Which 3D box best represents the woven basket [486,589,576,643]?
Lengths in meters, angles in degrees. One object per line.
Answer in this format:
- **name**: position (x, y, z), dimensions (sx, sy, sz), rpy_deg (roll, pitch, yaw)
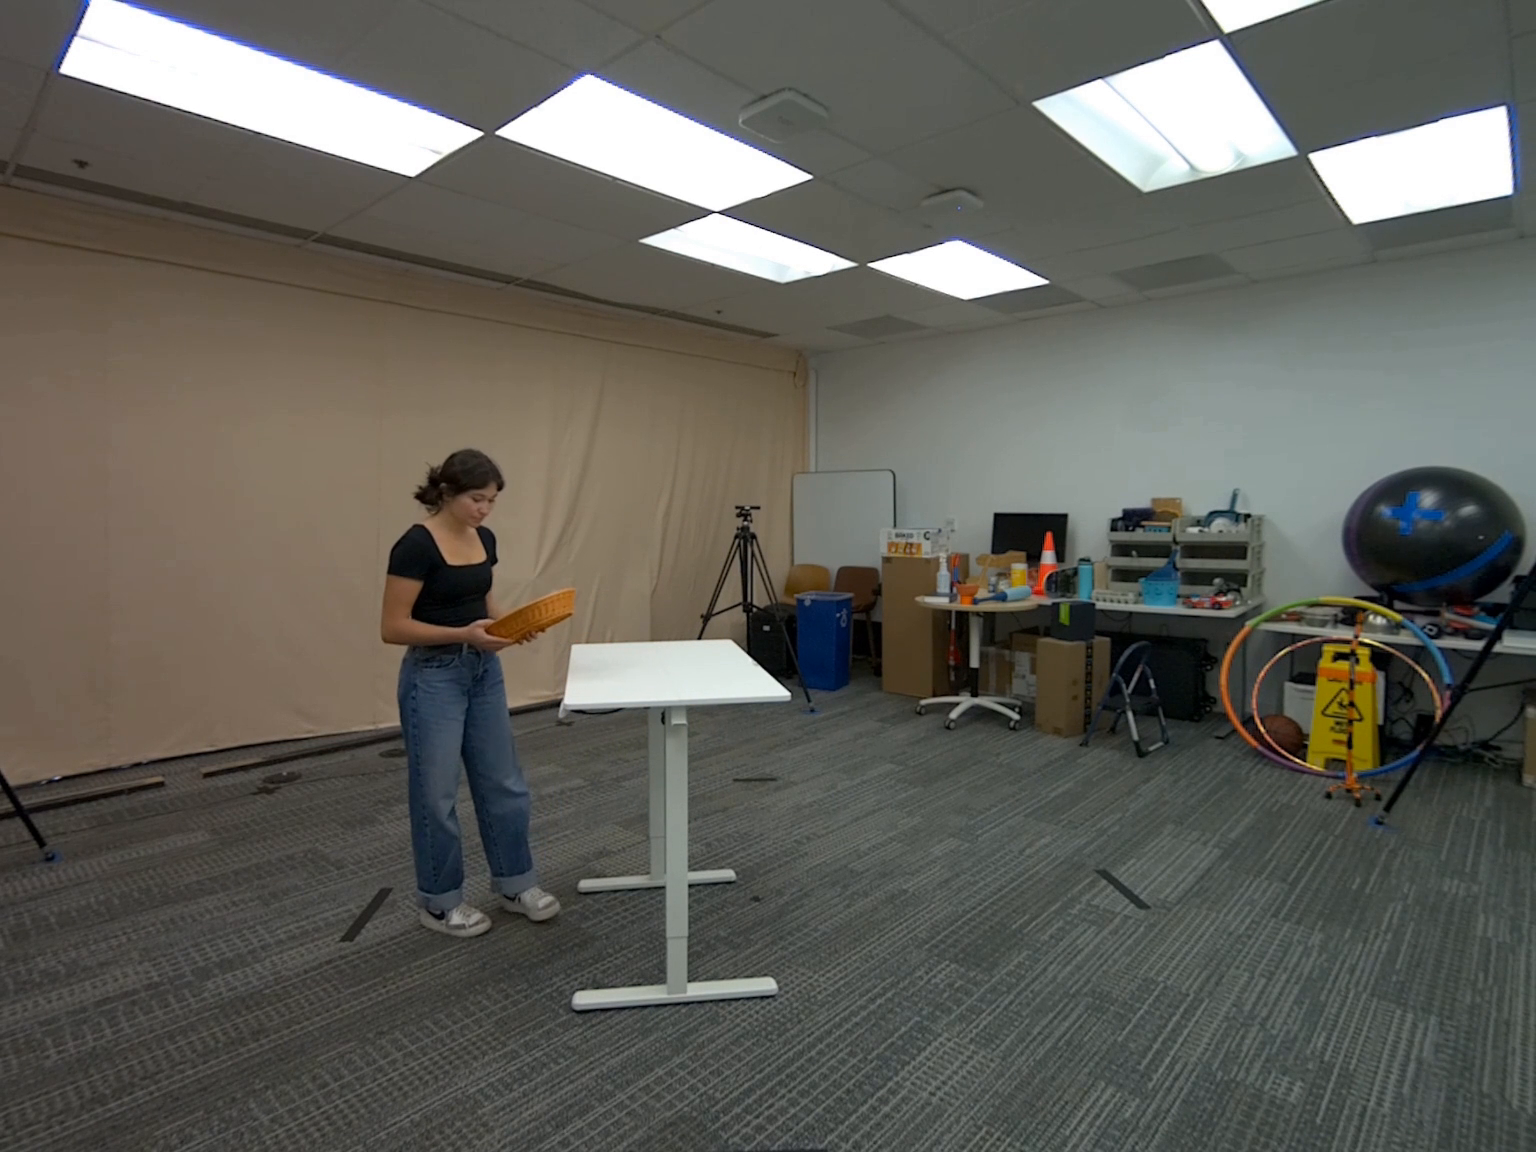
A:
- **woven basket**: position (-0.759, 0.146, 2.632), dimensions (0.356, 0.073, 0.247), rpy_deg (-26, -1, 28)
